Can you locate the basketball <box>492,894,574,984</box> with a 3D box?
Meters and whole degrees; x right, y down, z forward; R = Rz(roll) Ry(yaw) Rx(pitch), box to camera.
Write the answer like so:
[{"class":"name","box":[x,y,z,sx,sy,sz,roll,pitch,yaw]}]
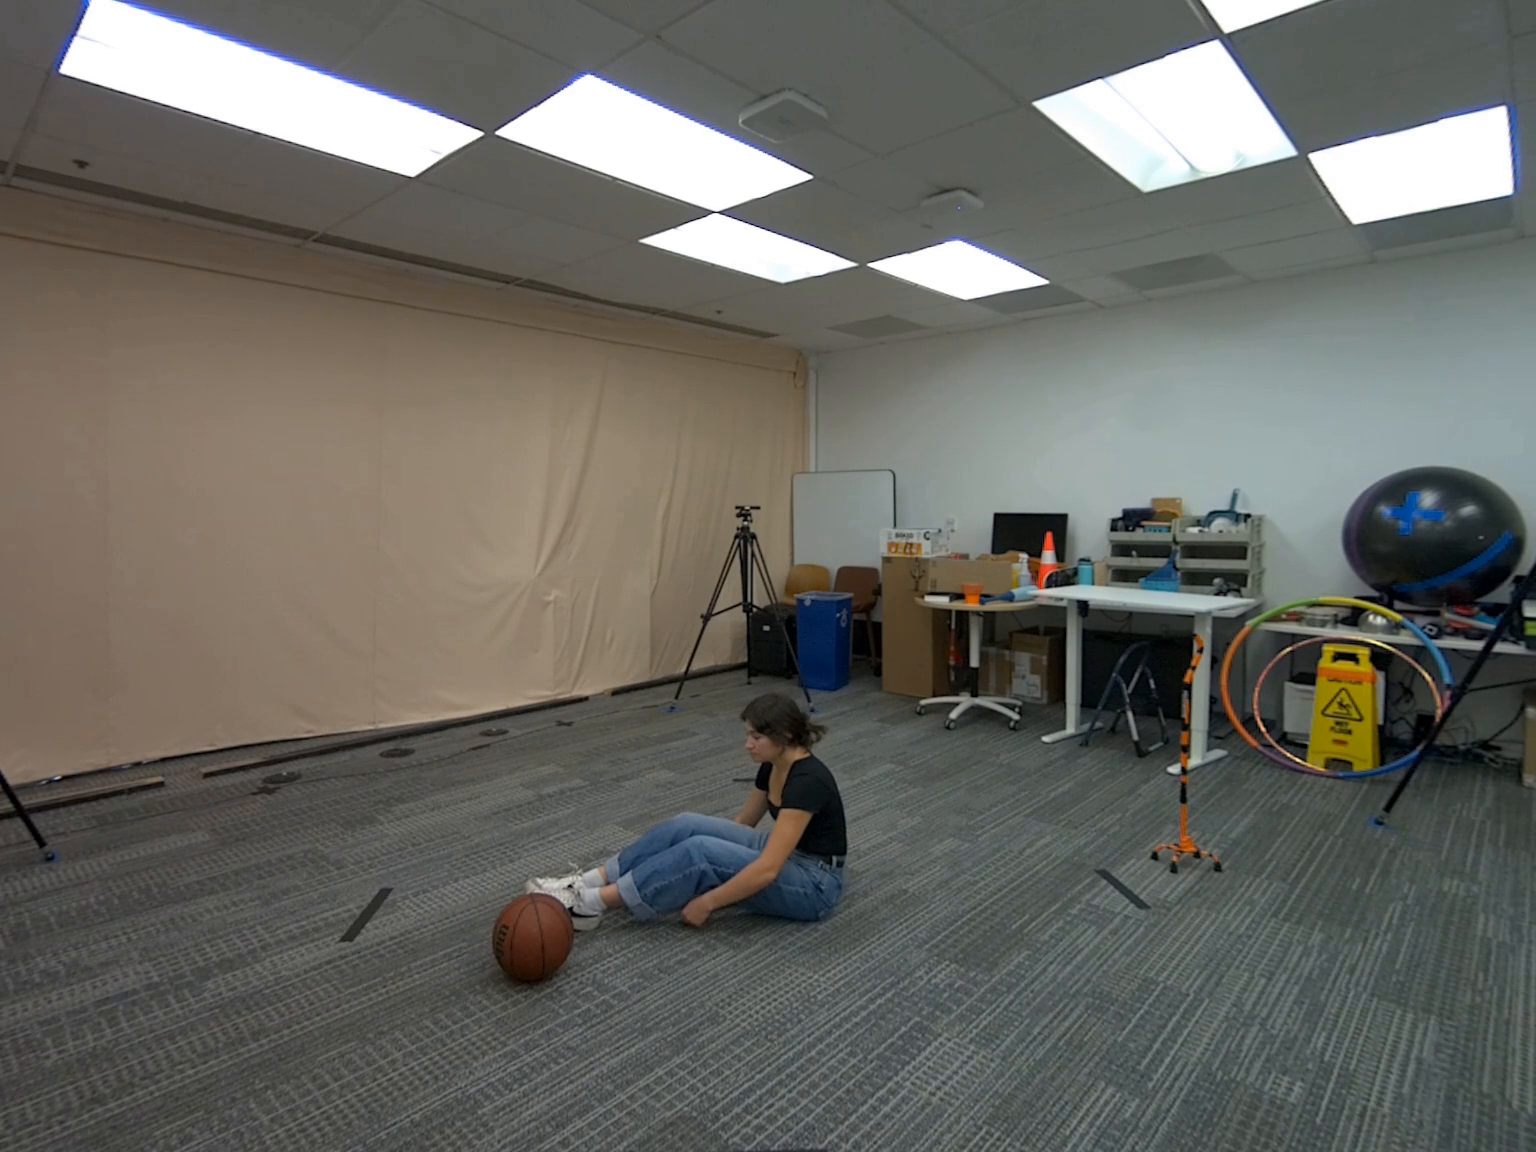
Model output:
[{"class":"basketball","box":[-0.700,1.068,2.499,0.236,0.235,0.237,0,4,-2]}]
